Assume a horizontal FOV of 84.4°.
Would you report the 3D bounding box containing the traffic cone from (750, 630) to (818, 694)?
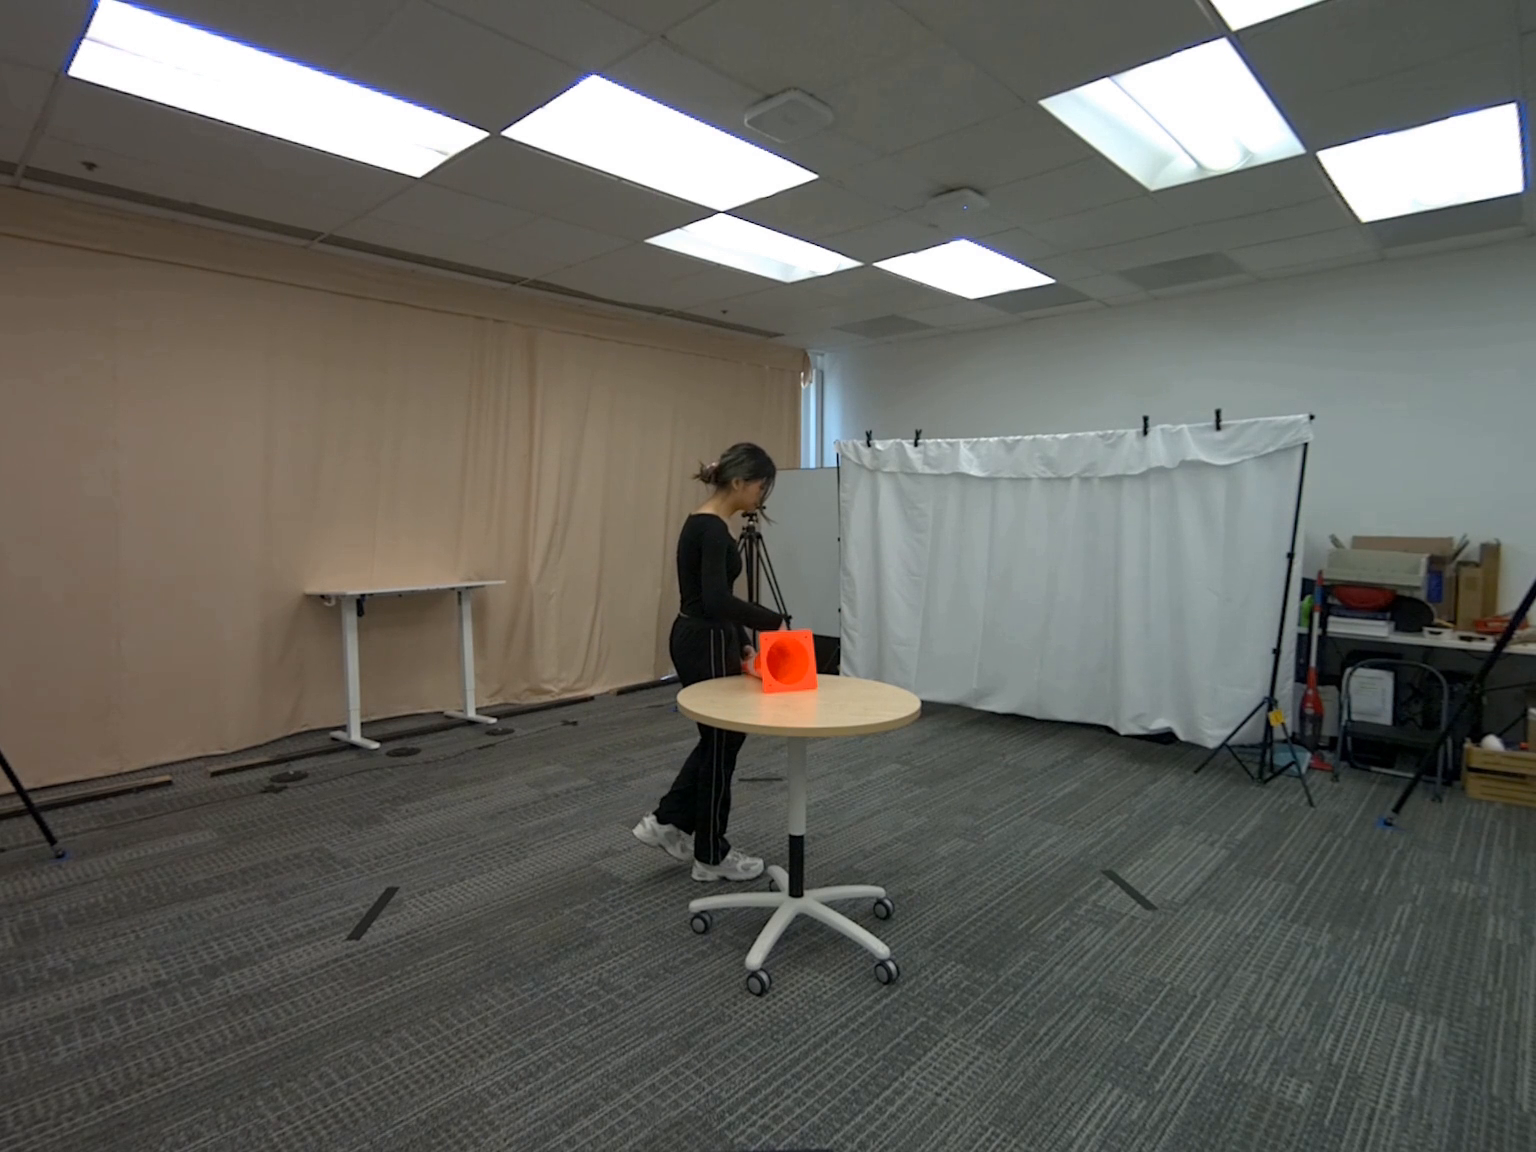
[{"bbox_3d":[0.003,0.312,2.940,0.201,0.205,0.388,2,-9,-19],"label":"traffic cone"}]
